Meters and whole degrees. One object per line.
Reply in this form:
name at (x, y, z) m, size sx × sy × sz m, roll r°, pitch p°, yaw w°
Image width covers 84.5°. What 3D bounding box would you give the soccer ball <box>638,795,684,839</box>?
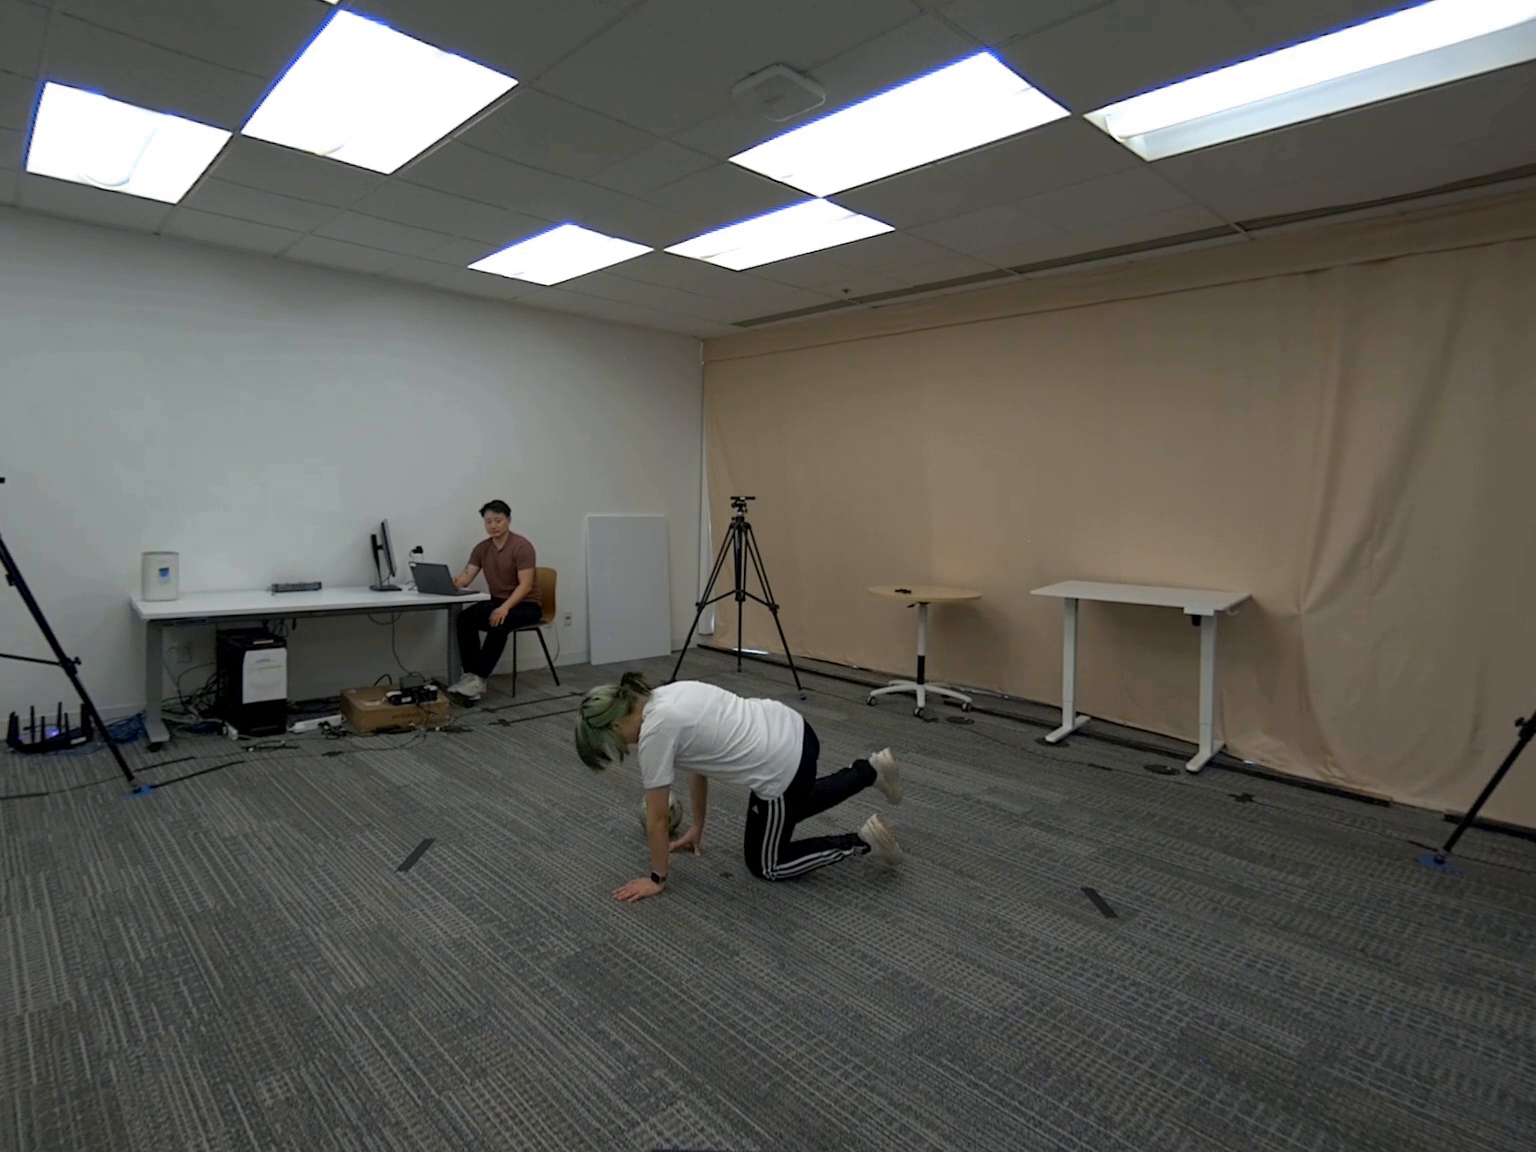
soccer ball at (-0.449, 0.971, 3.474) m, size 0.187 × 0.187 × 0.188 m, roll 1°, pitch 4°, yaw -1°
